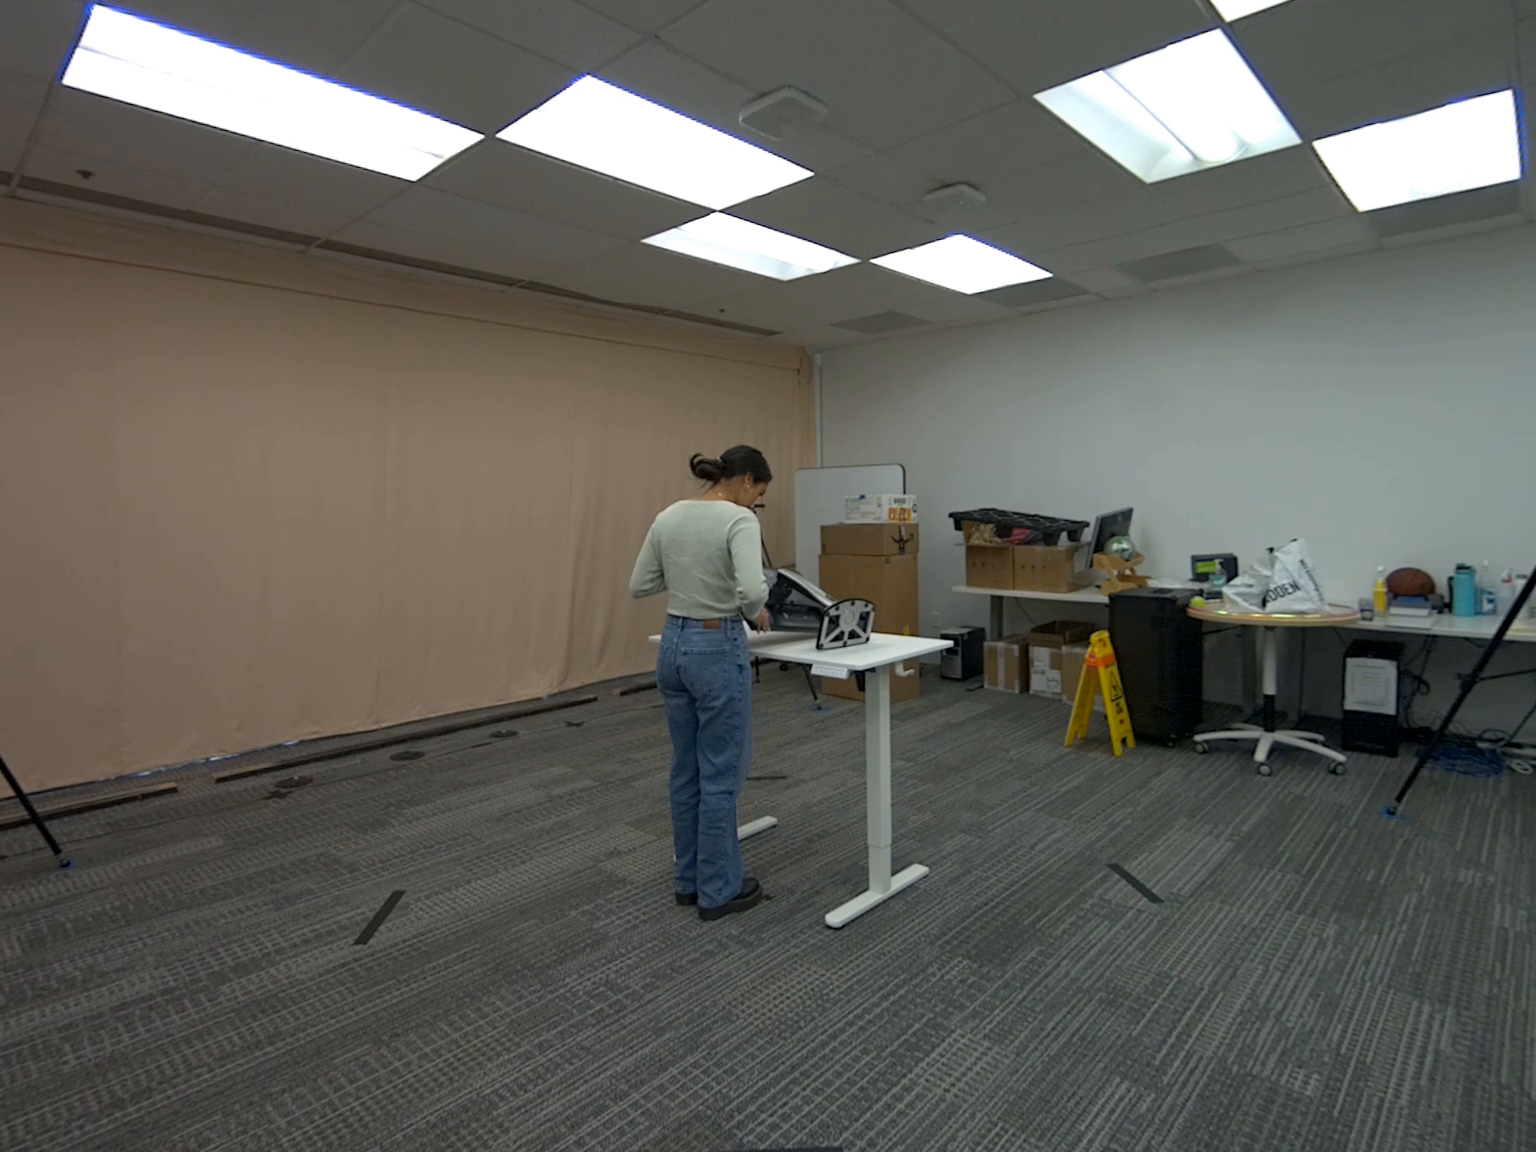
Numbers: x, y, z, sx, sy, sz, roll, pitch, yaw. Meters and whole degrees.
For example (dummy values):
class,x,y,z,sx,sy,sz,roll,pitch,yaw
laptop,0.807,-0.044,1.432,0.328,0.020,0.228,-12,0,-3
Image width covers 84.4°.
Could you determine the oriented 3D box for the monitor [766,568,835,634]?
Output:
class,x,y,z,sx,sy,sz,roll,pitch,yaw
monitor,0.152,0.077,3.136,0.542,0.186,0.521,26,12,41
